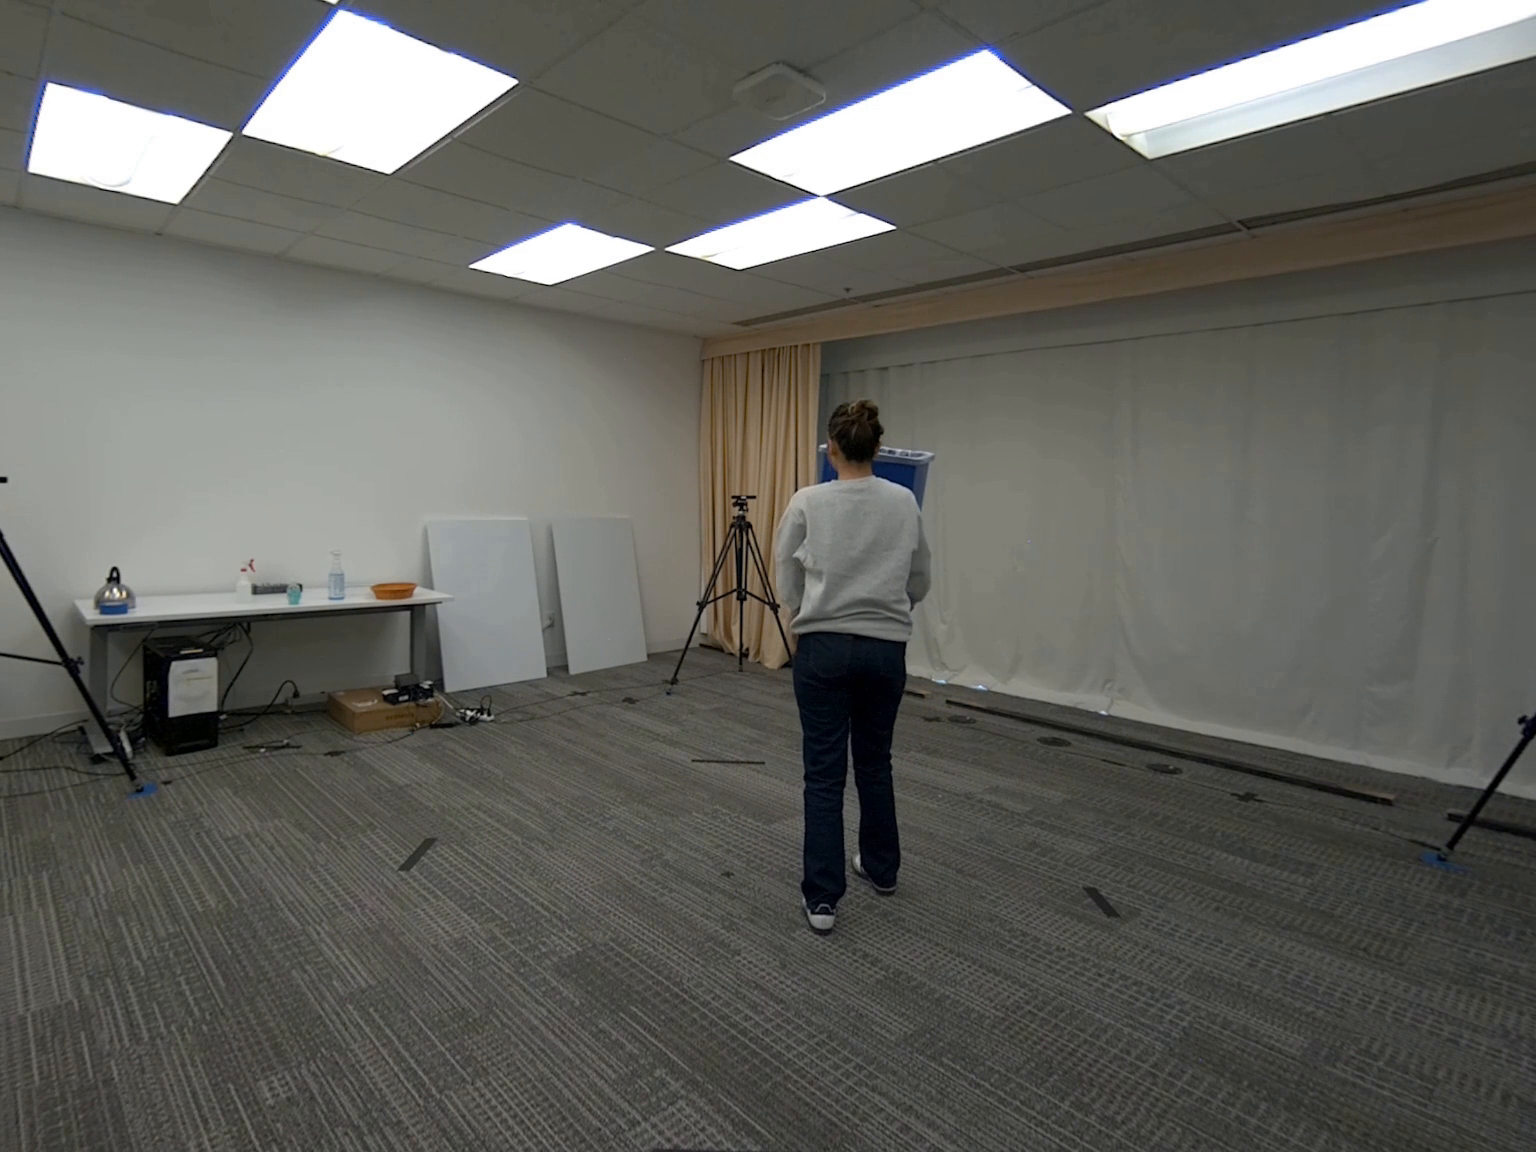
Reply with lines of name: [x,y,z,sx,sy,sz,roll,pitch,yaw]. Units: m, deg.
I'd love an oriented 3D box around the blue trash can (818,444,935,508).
blue trash can: [0.369,-0.120,3.144,0.384,0.709,0.370,9,11,19]
